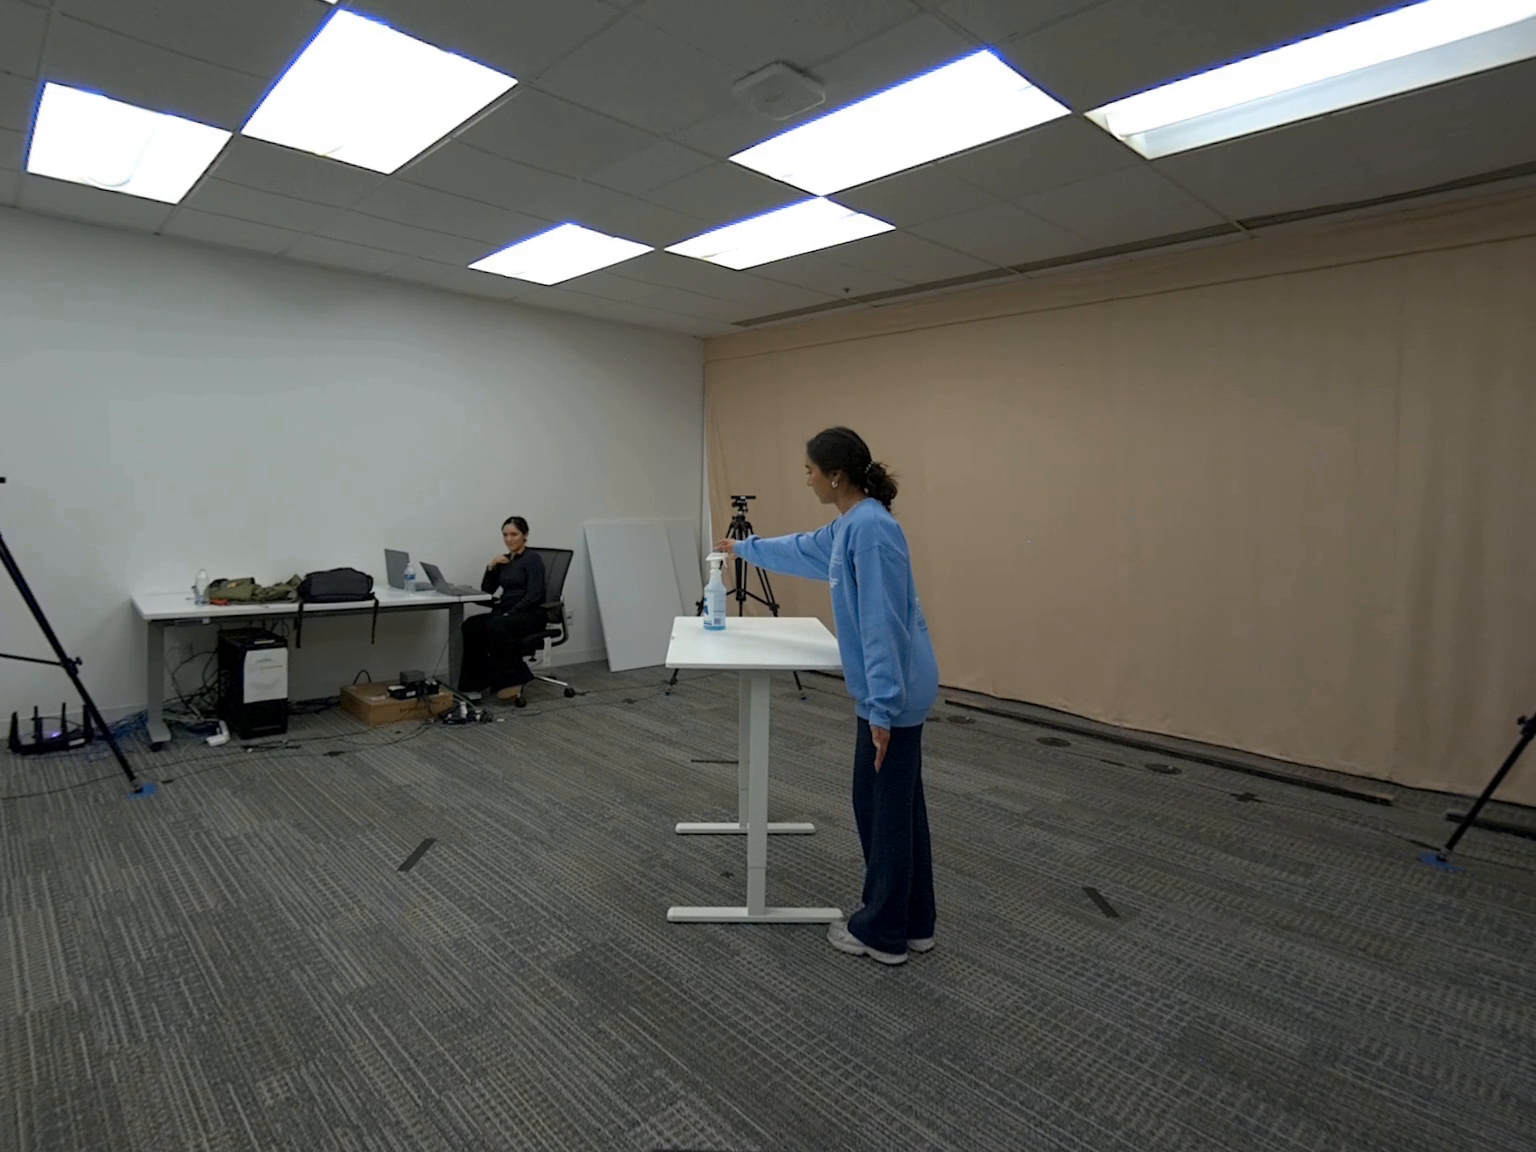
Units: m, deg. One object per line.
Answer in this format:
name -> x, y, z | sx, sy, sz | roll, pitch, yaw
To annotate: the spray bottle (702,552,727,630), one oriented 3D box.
spray bottle -> -0.214, 0.061, 3.267 | 0.092, 0.297, 0.085 | 2, 2, 44
